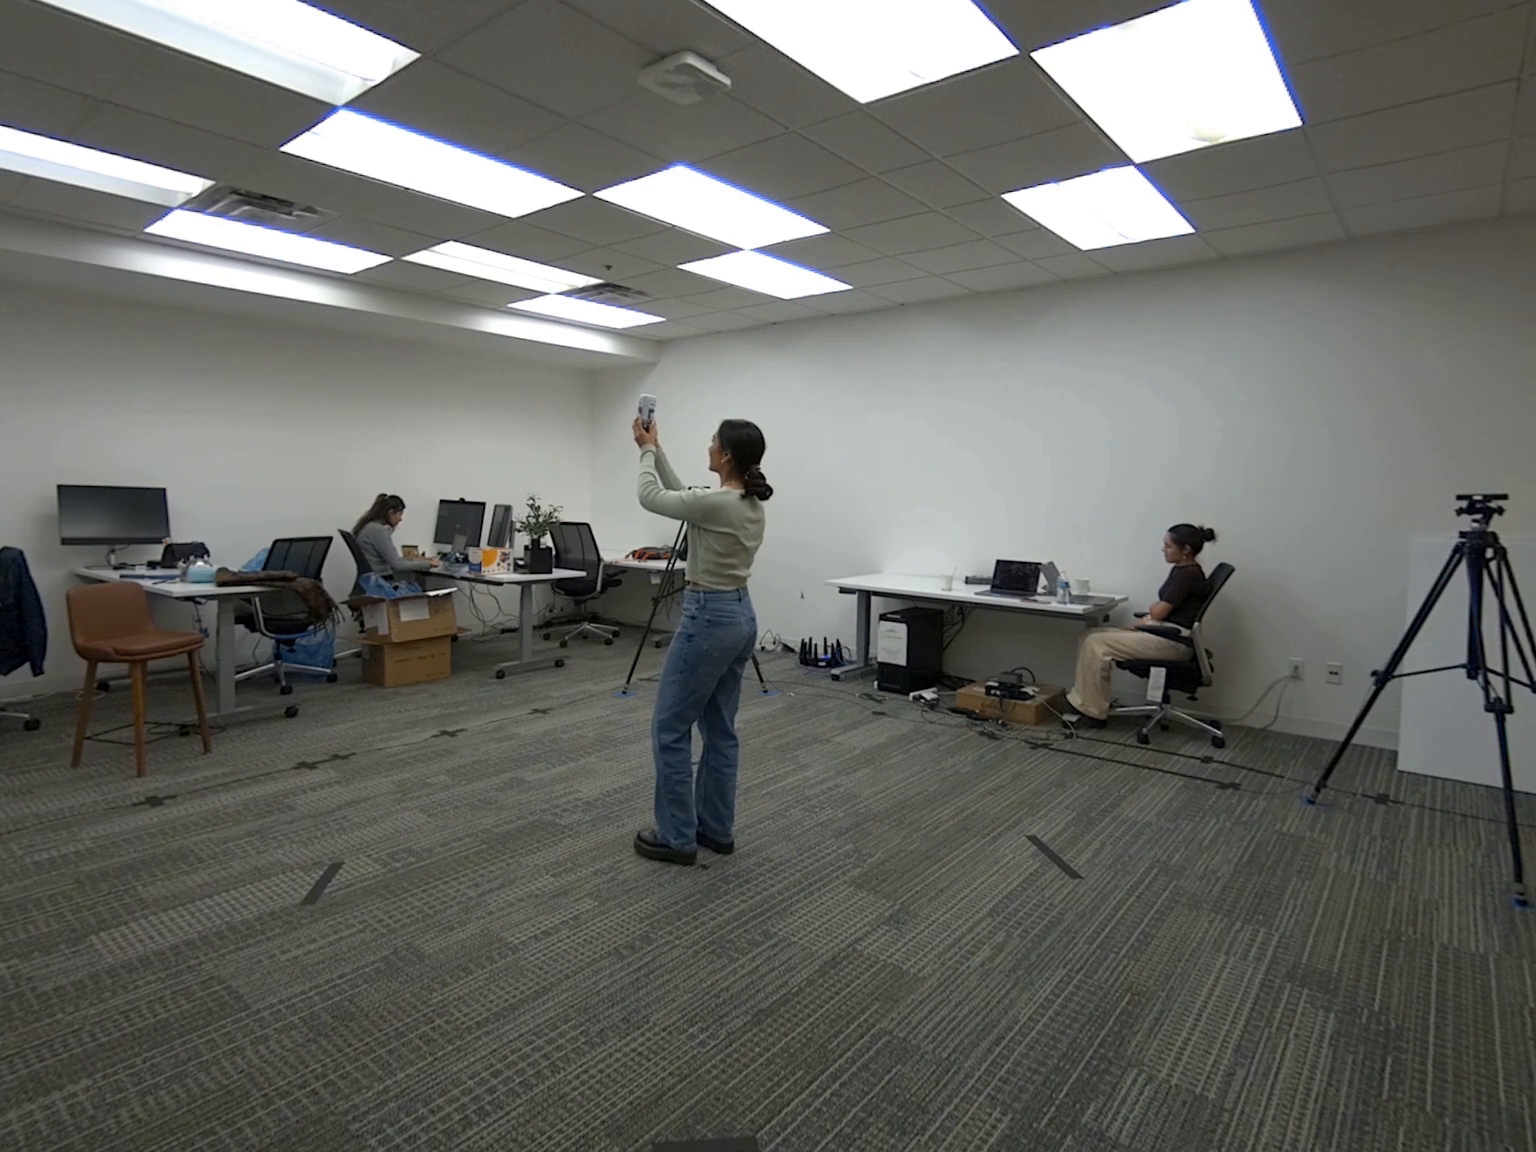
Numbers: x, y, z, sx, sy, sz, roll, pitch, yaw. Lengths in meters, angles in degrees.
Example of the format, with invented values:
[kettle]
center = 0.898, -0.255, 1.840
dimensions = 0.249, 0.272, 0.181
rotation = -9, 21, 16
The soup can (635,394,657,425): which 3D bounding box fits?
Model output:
[soup can]
center = -0.494, -0.666, 3.389
dimensions = 0.067, 0.121, 0.067
rotation = 5, 2, -2
